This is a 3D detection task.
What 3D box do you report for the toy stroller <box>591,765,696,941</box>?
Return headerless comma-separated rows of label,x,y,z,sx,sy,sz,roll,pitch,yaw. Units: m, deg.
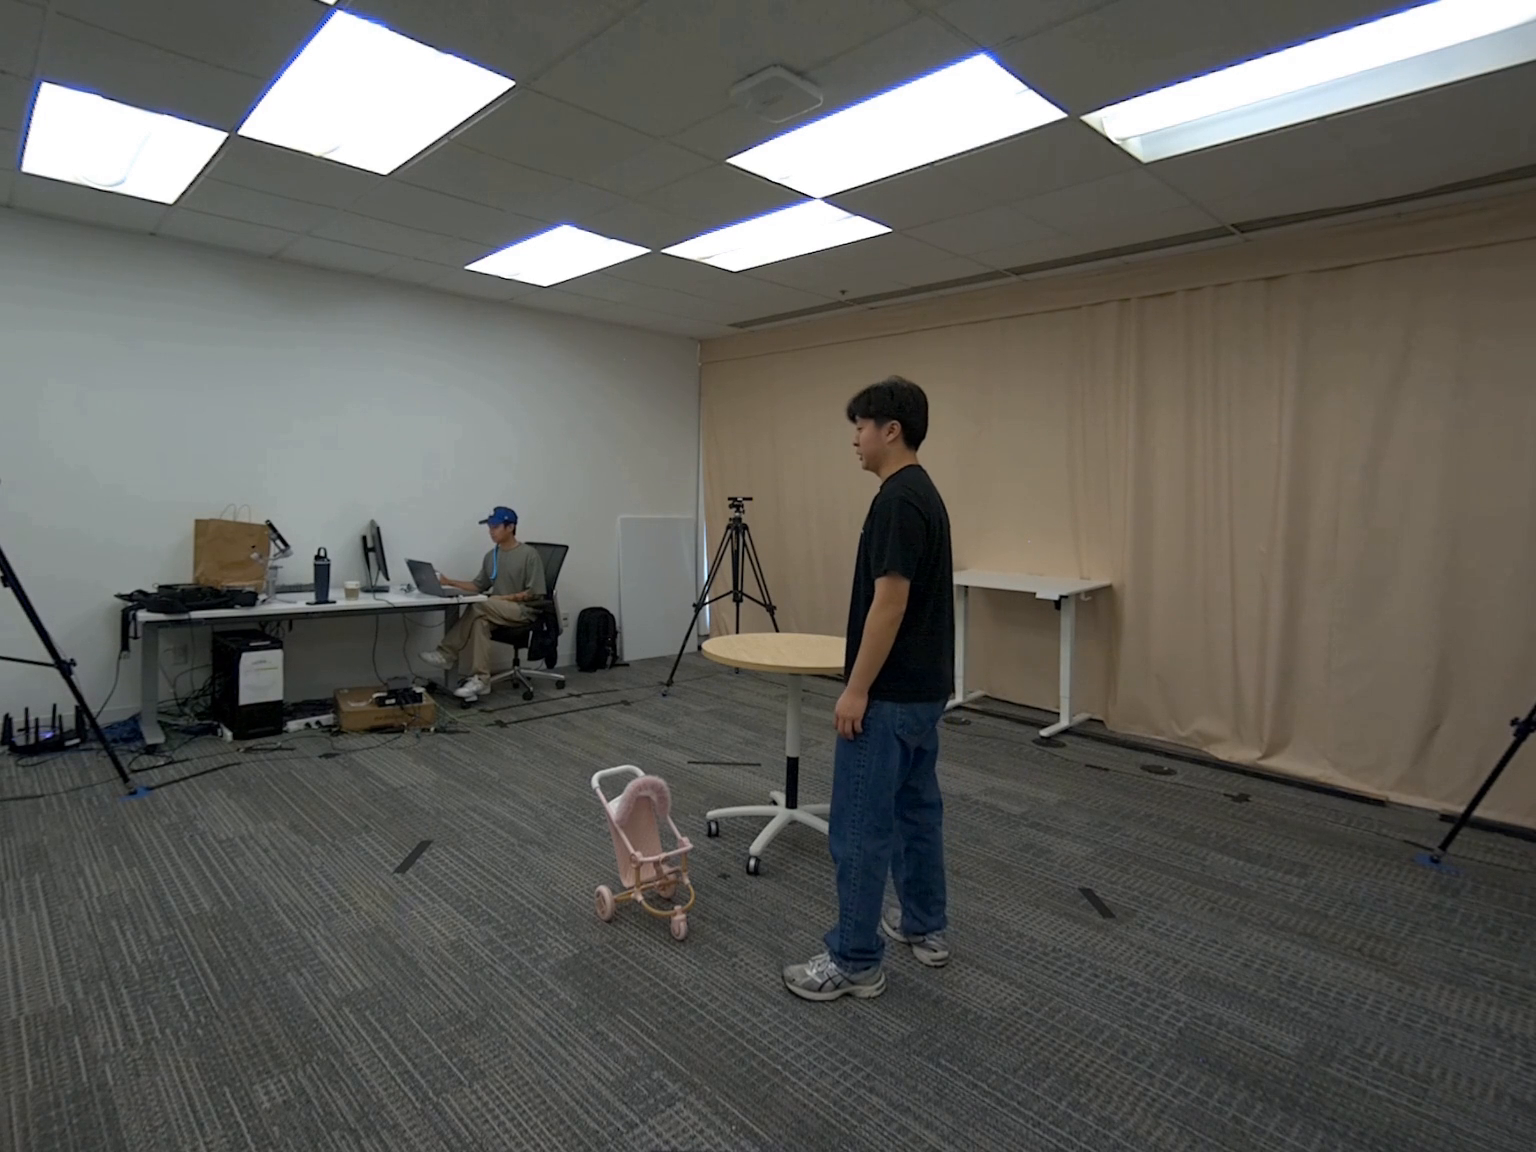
toy stroller,-0.408,0.905,2.784,0.275,0.539,0.346,-1,-11,-37
